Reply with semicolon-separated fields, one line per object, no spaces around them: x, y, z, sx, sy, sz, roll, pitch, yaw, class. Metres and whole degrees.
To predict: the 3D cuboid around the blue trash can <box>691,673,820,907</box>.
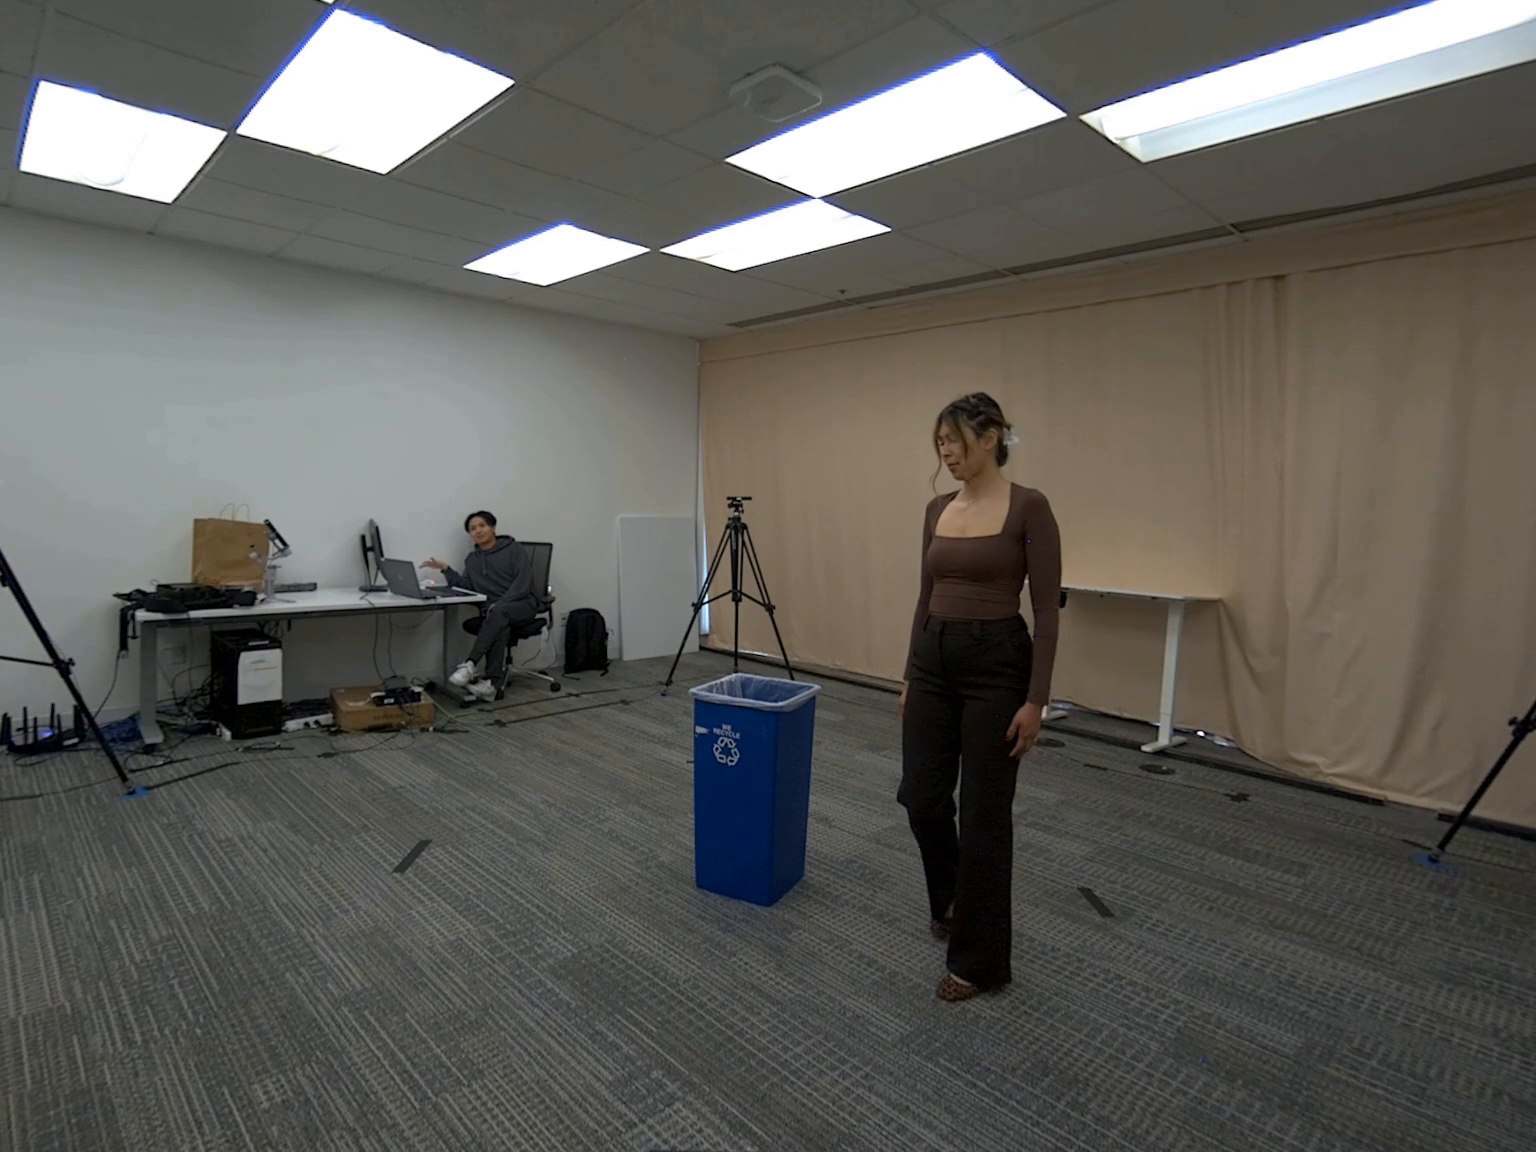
-0.062;0.754;3.050;0.386;0.711;0.367;3;5;27;blue trash can
